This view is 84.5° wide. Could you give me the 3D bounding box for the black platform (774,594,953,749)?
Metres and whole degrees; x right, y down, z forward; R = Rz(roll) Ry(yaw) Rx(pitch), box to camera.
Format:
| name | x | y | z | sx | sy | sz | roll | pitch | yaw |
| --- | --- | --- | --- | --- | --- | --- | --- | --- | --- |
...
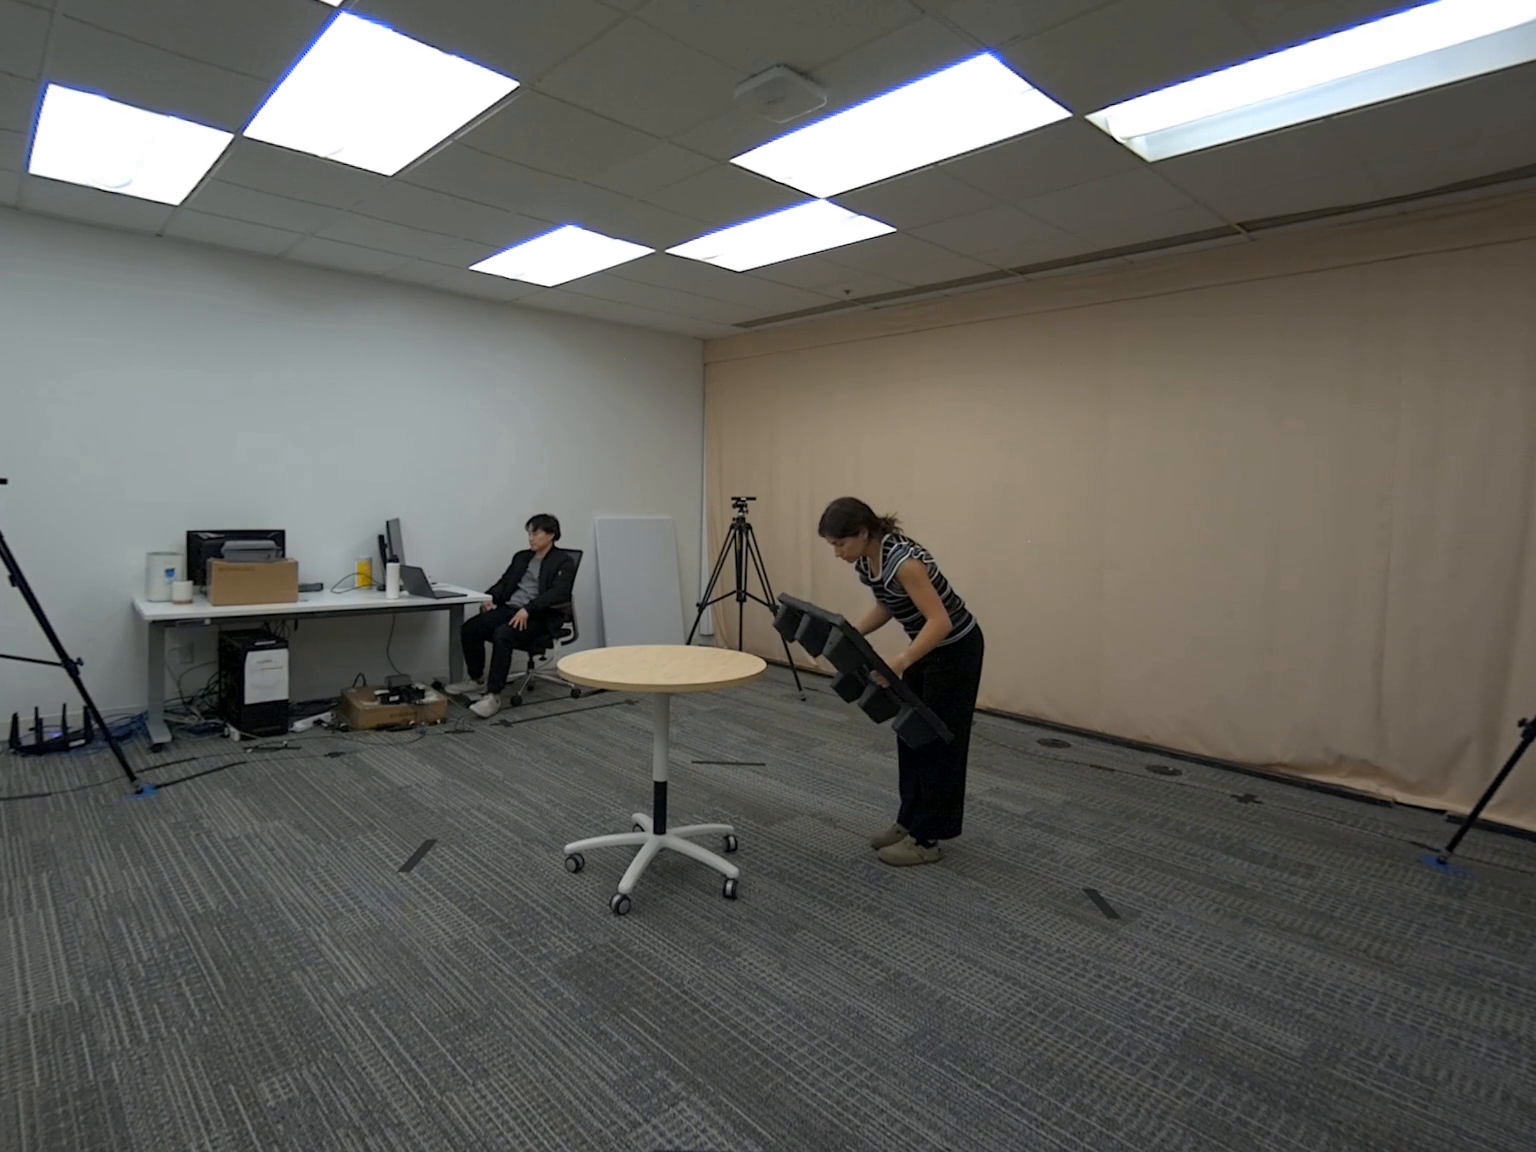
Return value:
| name | x | y | z | sx | sy | sz | roll | pitch | yaw |
| --- | --- | --- | --- | --- | --- | --- | --- | --- | --- |
| black platform | 0.300 | 0.350 | 3.246 | 0.598 | 0.143 | 0.815 | 45 | -7 | -12 |
